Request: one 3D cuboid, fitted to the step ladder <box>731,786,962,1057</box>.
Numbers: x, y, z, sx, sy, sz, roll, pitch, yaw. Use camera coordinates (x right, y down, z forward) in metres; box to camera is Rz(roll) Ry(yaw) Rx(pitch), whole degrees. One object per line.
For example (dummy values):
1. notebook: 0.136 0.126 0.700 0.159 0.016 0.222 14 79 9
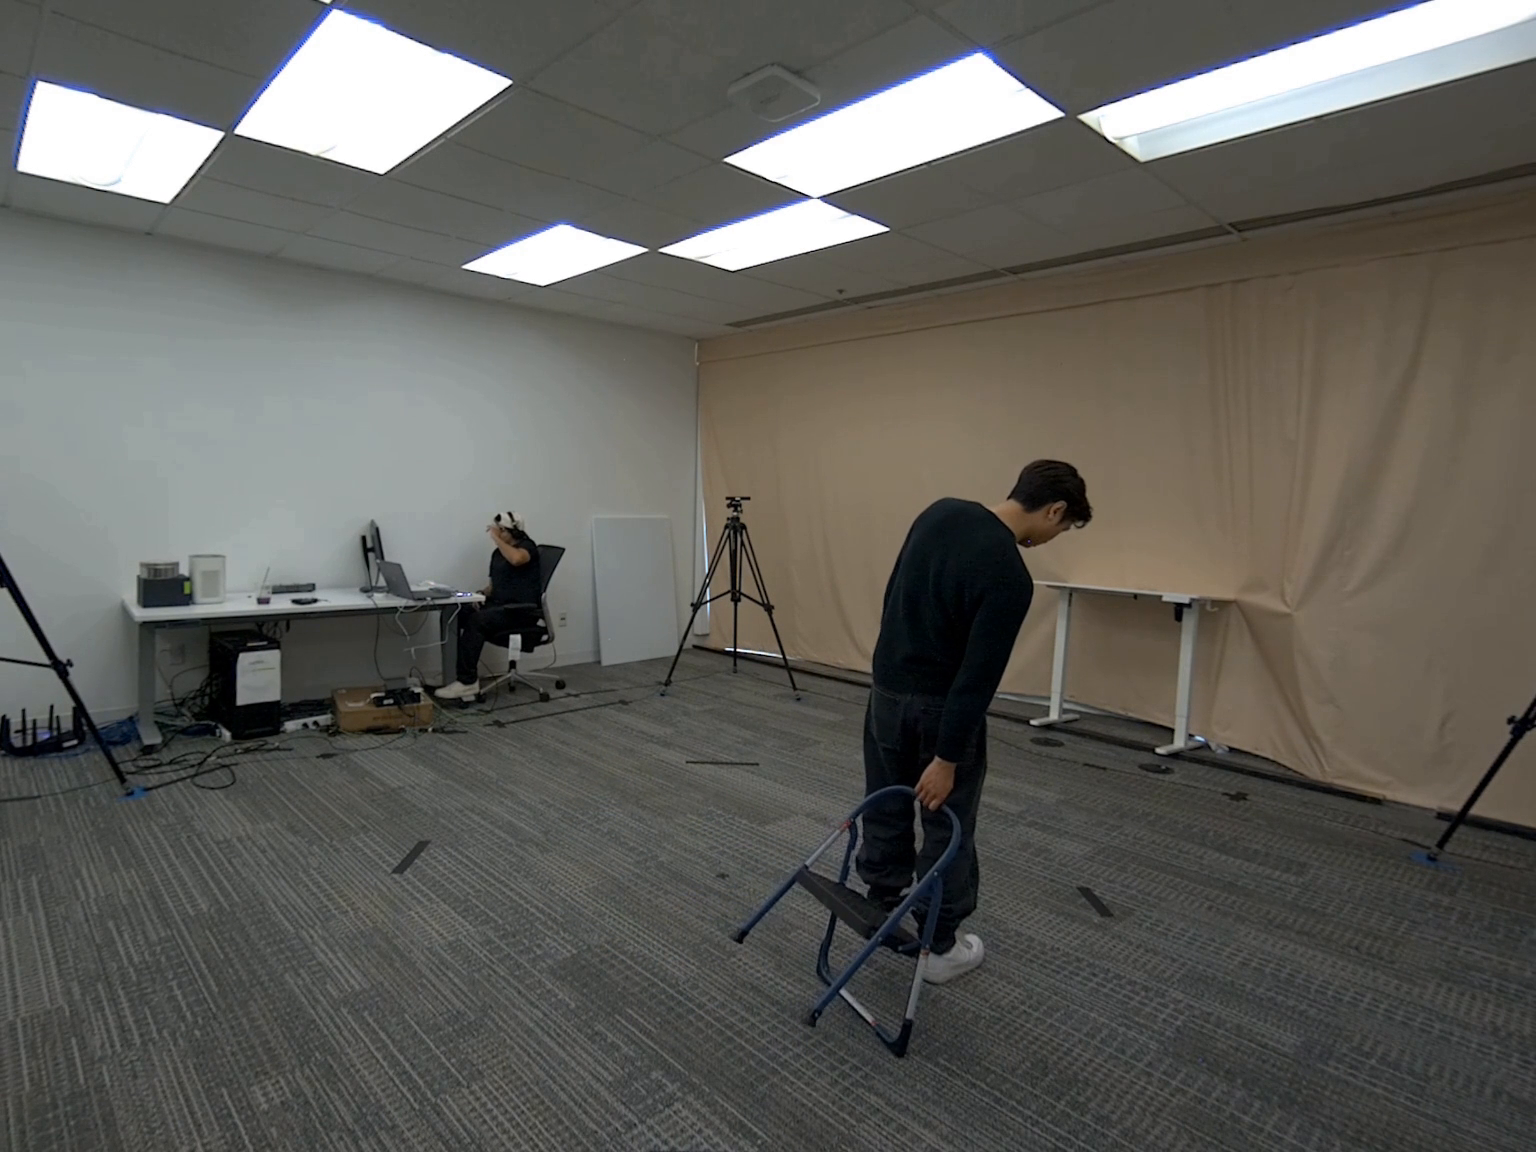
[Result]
1. step ladder: 0.254 0.858 2.268 0.341 0.607 0.440 33 -10 -26
